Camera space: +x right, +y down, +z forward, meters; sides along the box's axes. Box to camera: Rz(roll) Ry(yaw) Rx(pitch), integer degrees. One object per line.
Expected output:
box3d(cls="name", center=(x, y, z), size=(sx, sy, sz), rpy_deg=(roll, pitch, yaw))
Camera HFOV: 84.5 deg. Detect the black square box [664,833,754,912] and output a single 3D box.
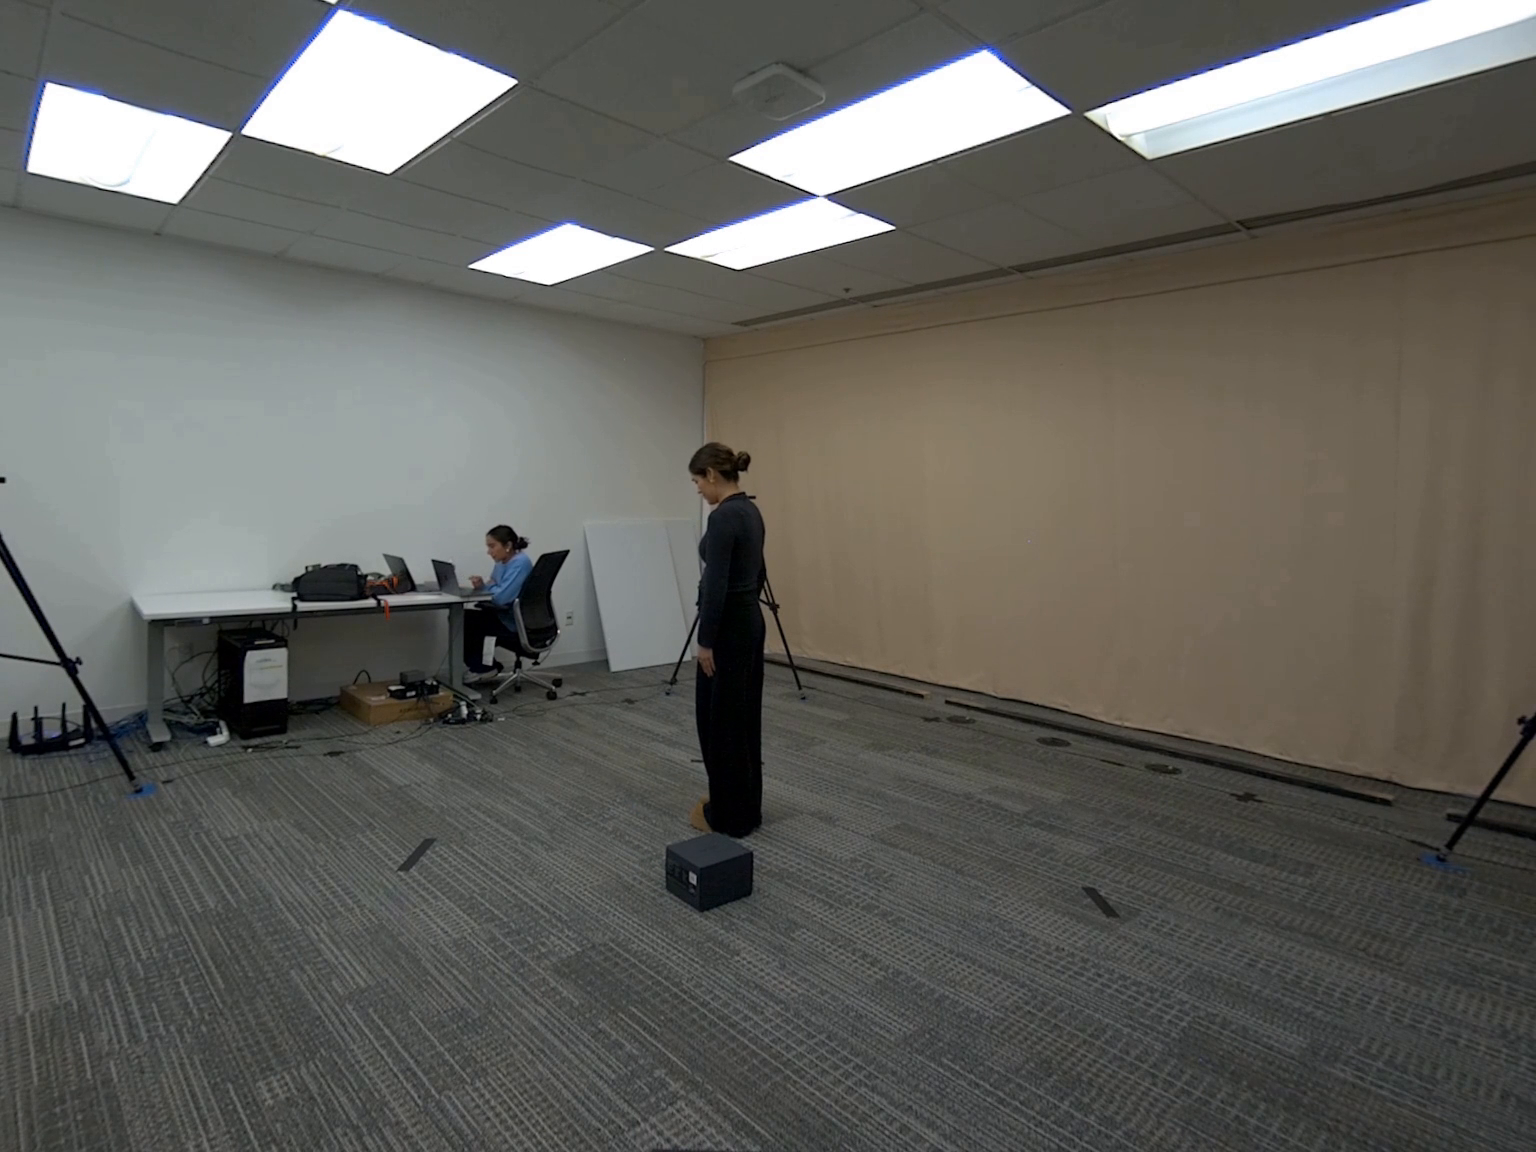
box3d(cls="black square box", center=(-0.221, 1.034, 2.957), size=(0.223, 0.155, 0.222), rpy_deg=(-4, 6, -40))
